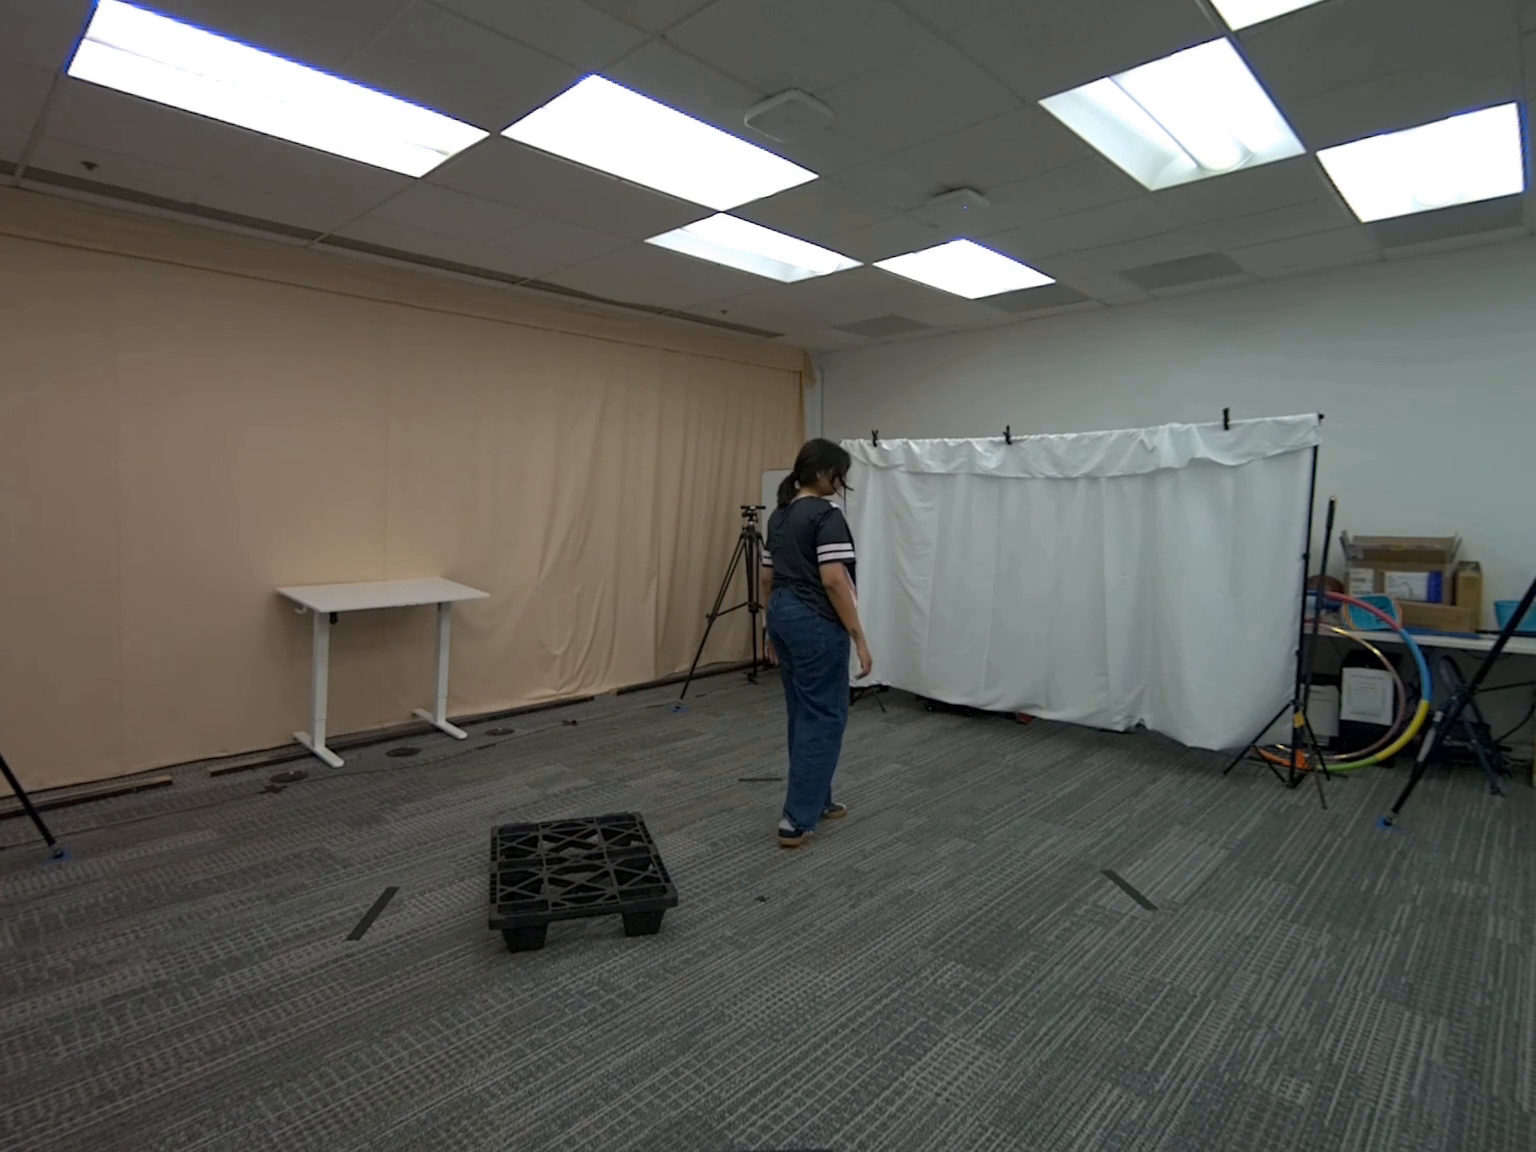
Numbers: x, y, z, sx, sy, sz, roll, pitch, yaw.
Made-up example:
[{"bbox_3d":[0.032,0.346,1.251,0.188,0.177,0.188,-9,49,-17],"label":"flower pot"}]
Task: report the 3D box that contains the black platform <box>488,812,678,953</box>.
[{"bbox_3d":[-0.691,1.079,3.038,0.595,0.143,0.821,-1,5,-16],"label":"black platform"}]
